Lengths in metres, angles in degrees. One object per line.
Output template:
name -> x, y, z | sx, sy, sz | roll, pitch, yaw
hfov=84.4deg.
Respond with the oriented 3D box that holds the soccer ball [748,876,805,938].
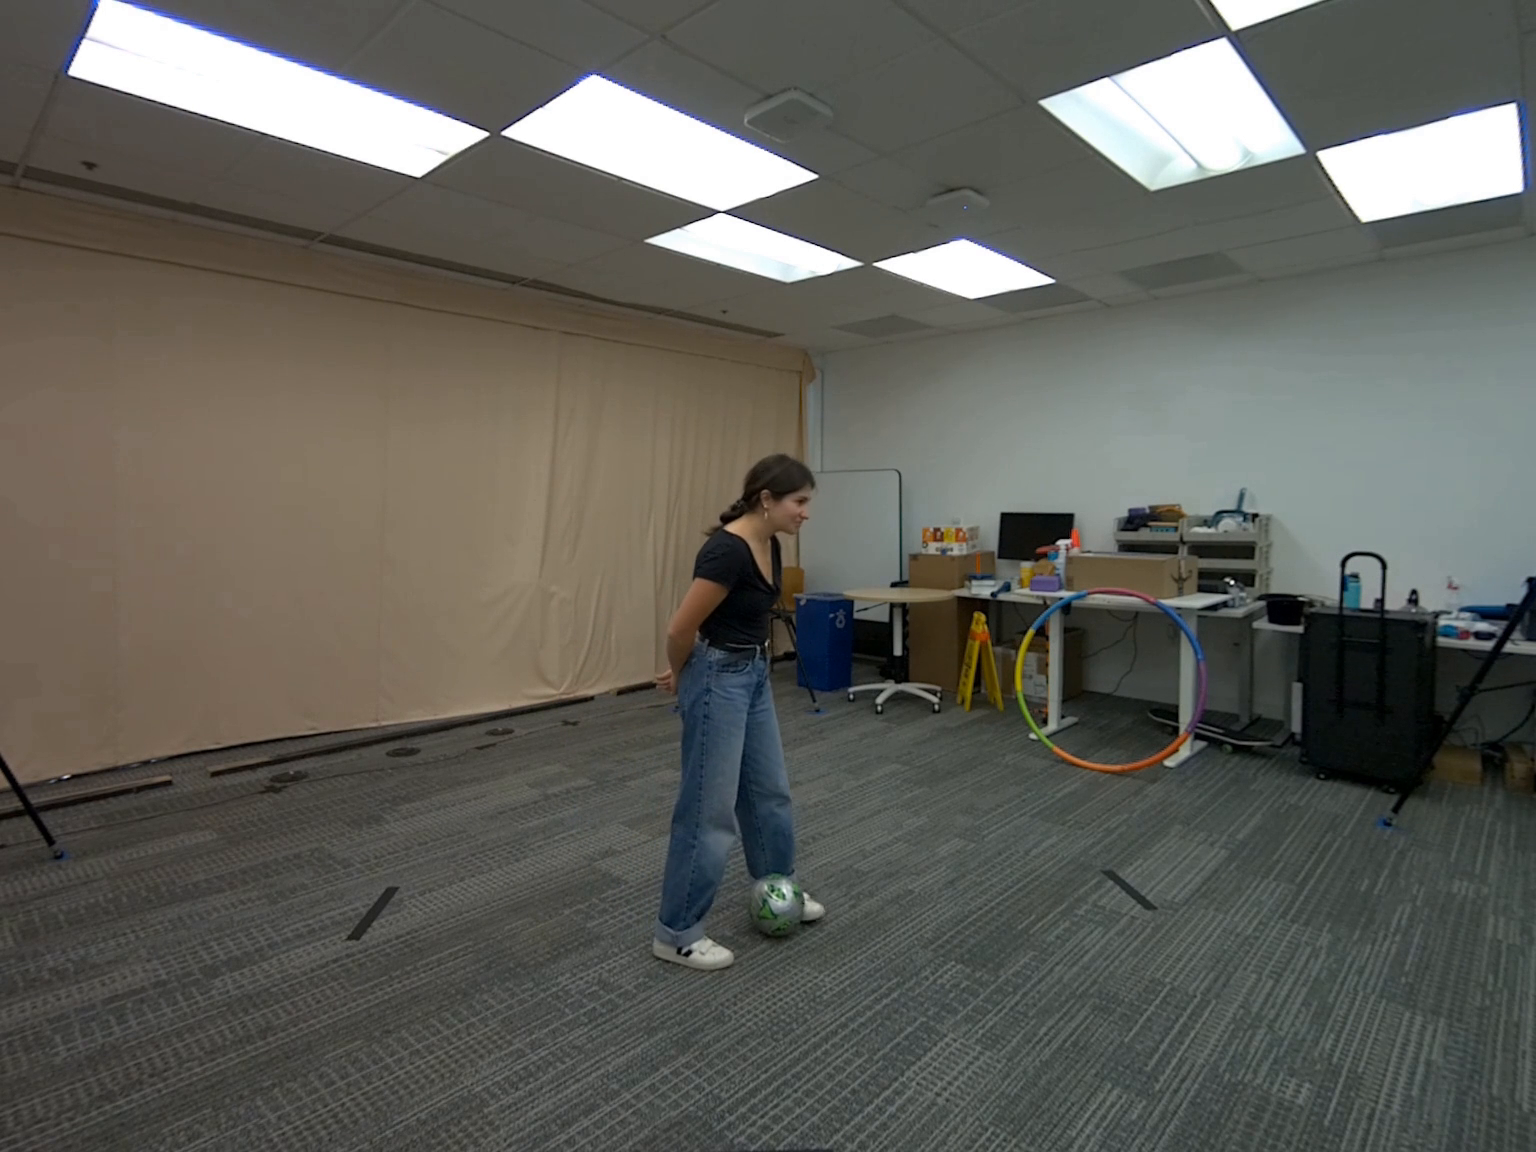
soccer ball -> 0.025, 1.064, 2.748 | 0.187, 0.187, 0.188 | 0, 4, -2
